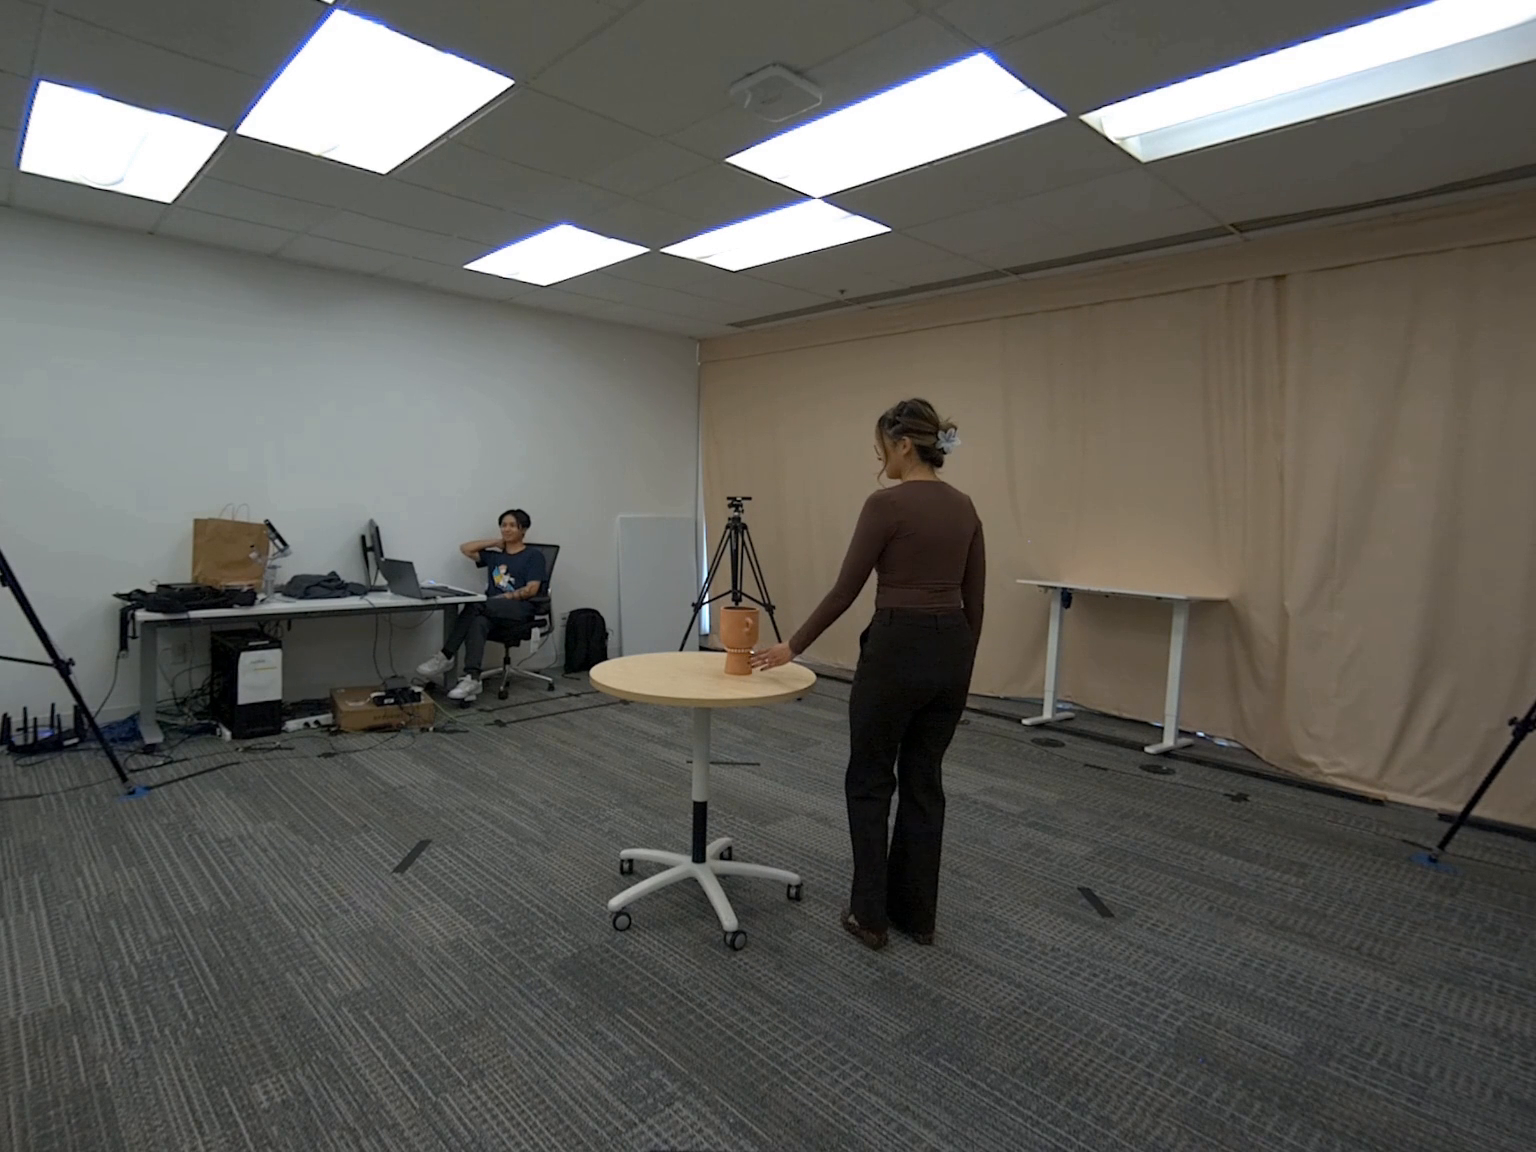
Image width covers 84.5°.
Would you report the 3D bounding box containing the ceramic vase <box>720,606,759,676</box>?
[{"bbox_3d":[-0.100,0.224,2.869,0.136,0.219,0.157,5,5,15],"label":"ceramic vase"}]
